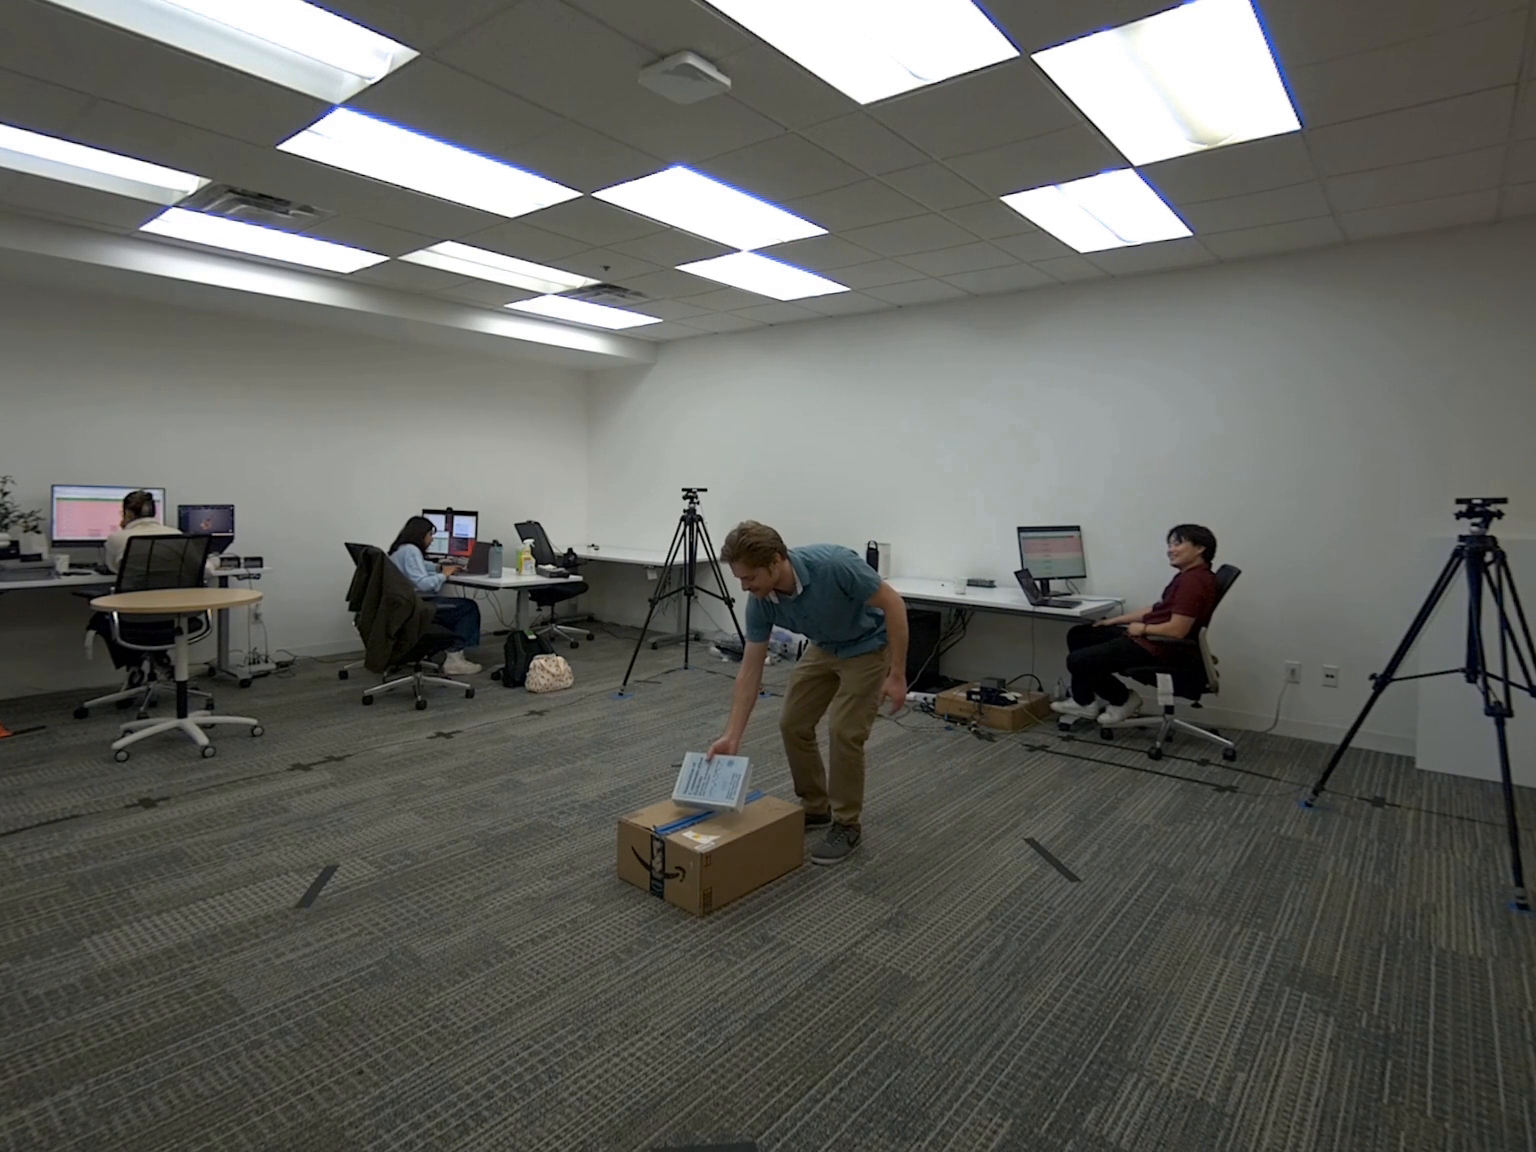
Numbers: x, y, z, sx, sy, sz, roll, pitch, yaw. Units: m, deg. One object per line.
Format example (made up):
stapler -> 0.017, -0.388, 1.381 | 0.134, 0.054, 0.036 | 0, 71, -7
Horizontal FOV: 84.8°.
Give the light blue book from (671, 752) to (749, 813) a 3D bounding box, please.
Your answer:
light blue book -> -0.211, 0.740, 3.083 | 0.267, 0.194, 0.056 | -2, -40, 26
